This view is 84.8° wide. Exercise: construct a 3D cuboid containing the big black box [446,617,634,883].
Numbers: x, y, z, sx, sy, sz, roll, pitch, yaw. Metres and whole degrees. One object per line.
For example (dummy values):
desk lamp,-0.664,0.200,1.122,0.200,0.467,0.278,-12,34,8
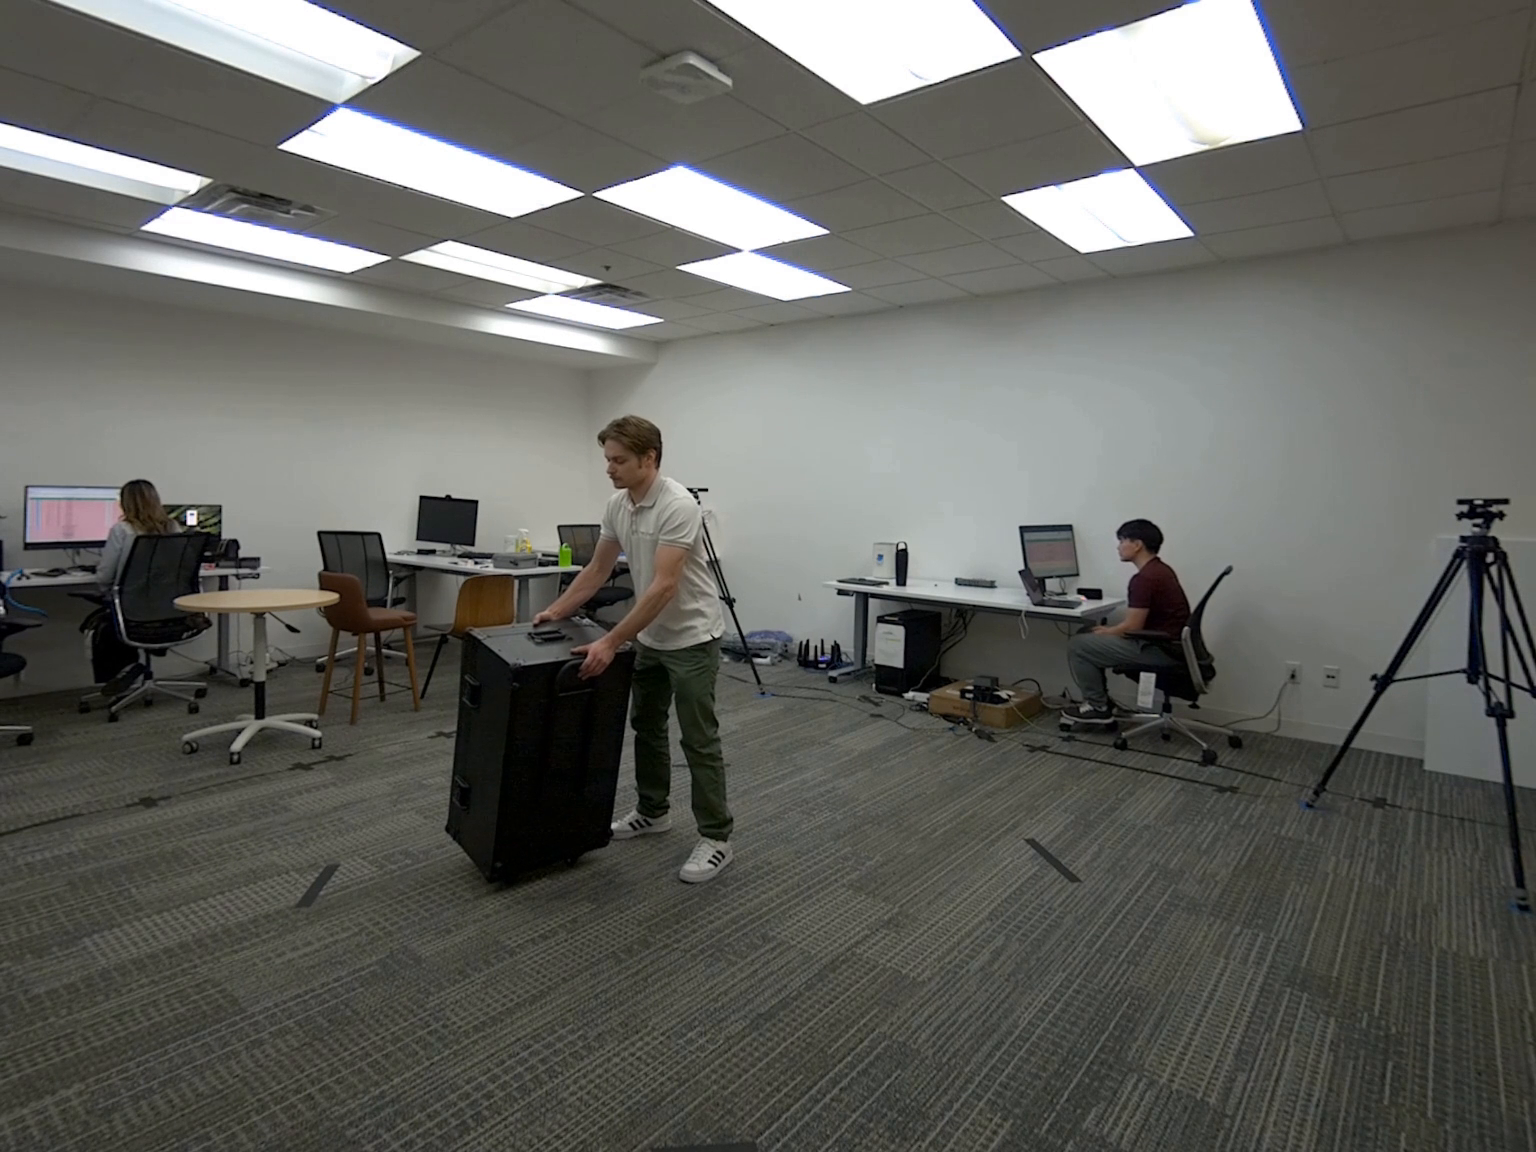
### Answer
big black box,-0.831,0.629,3.054,0.508,0.860,0.401,-3,17,-44
